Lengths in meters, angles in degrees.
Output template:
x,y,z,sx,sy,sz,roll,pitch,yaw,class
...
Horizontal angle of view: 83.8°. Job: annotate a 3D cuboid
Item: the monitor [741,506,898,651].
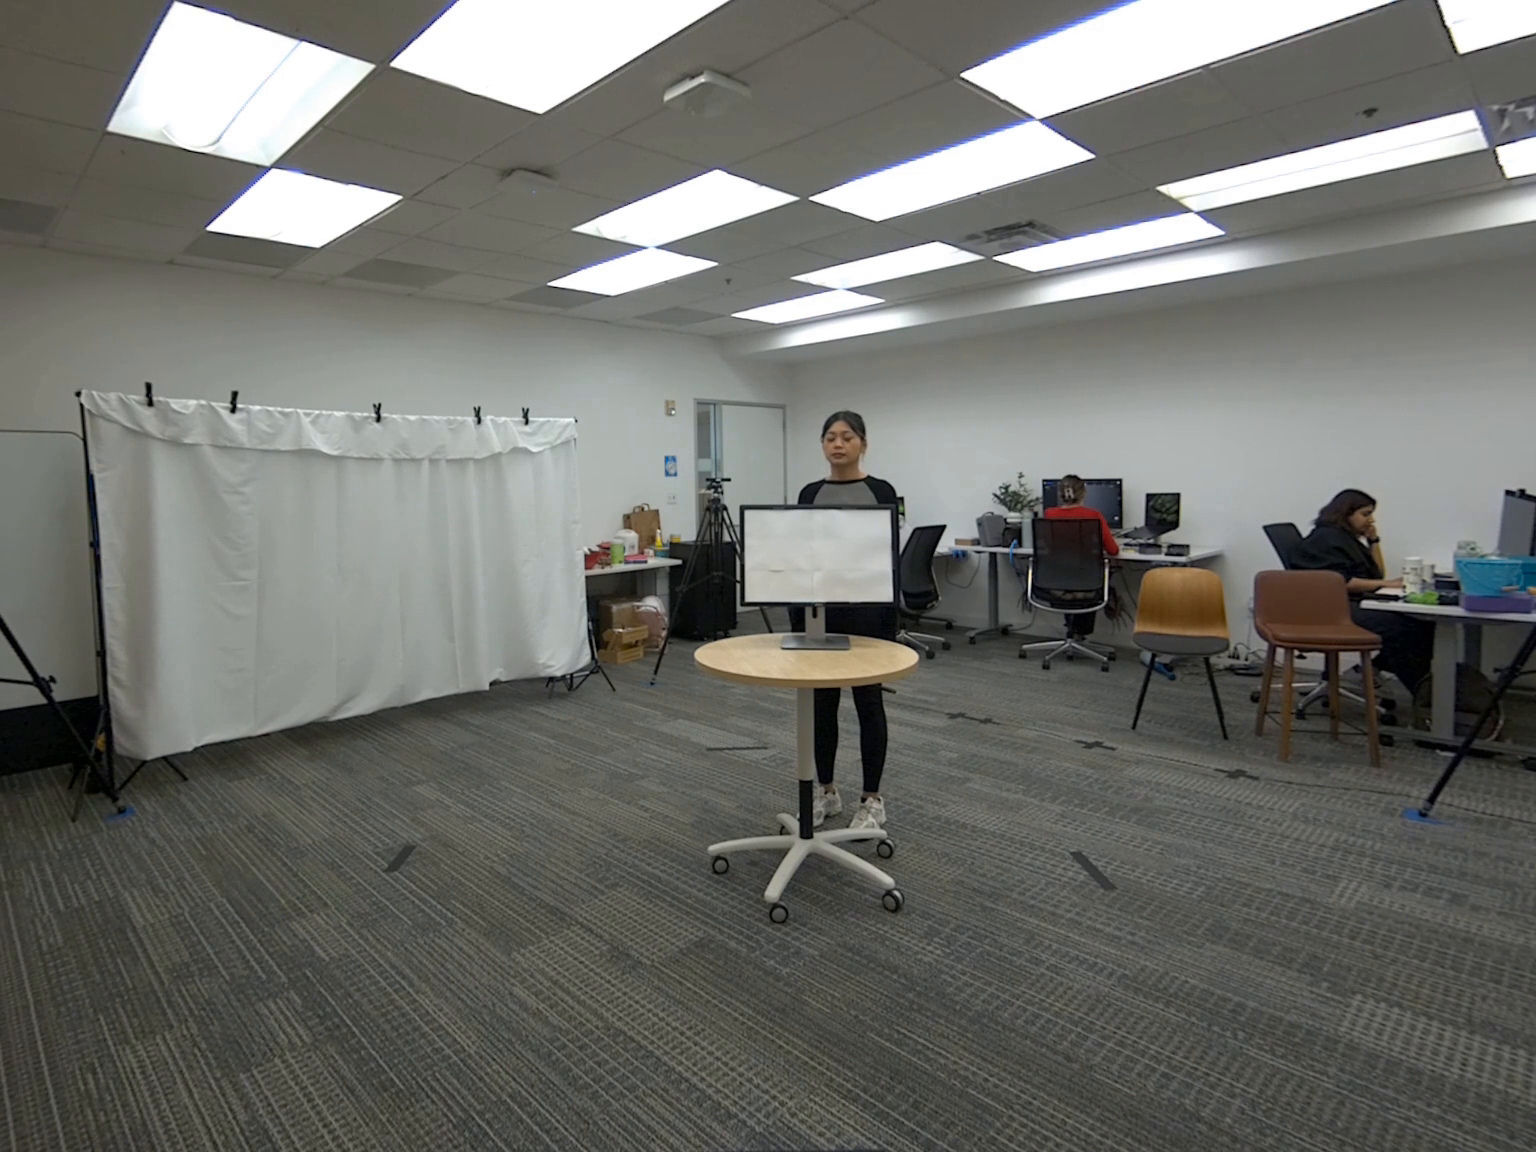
x,y,z,sx,sy,sz,roll,pitch,yaw,class
0.173,0.000,3.087,0.538,0.519,0.189,0,6,-3,monitor
